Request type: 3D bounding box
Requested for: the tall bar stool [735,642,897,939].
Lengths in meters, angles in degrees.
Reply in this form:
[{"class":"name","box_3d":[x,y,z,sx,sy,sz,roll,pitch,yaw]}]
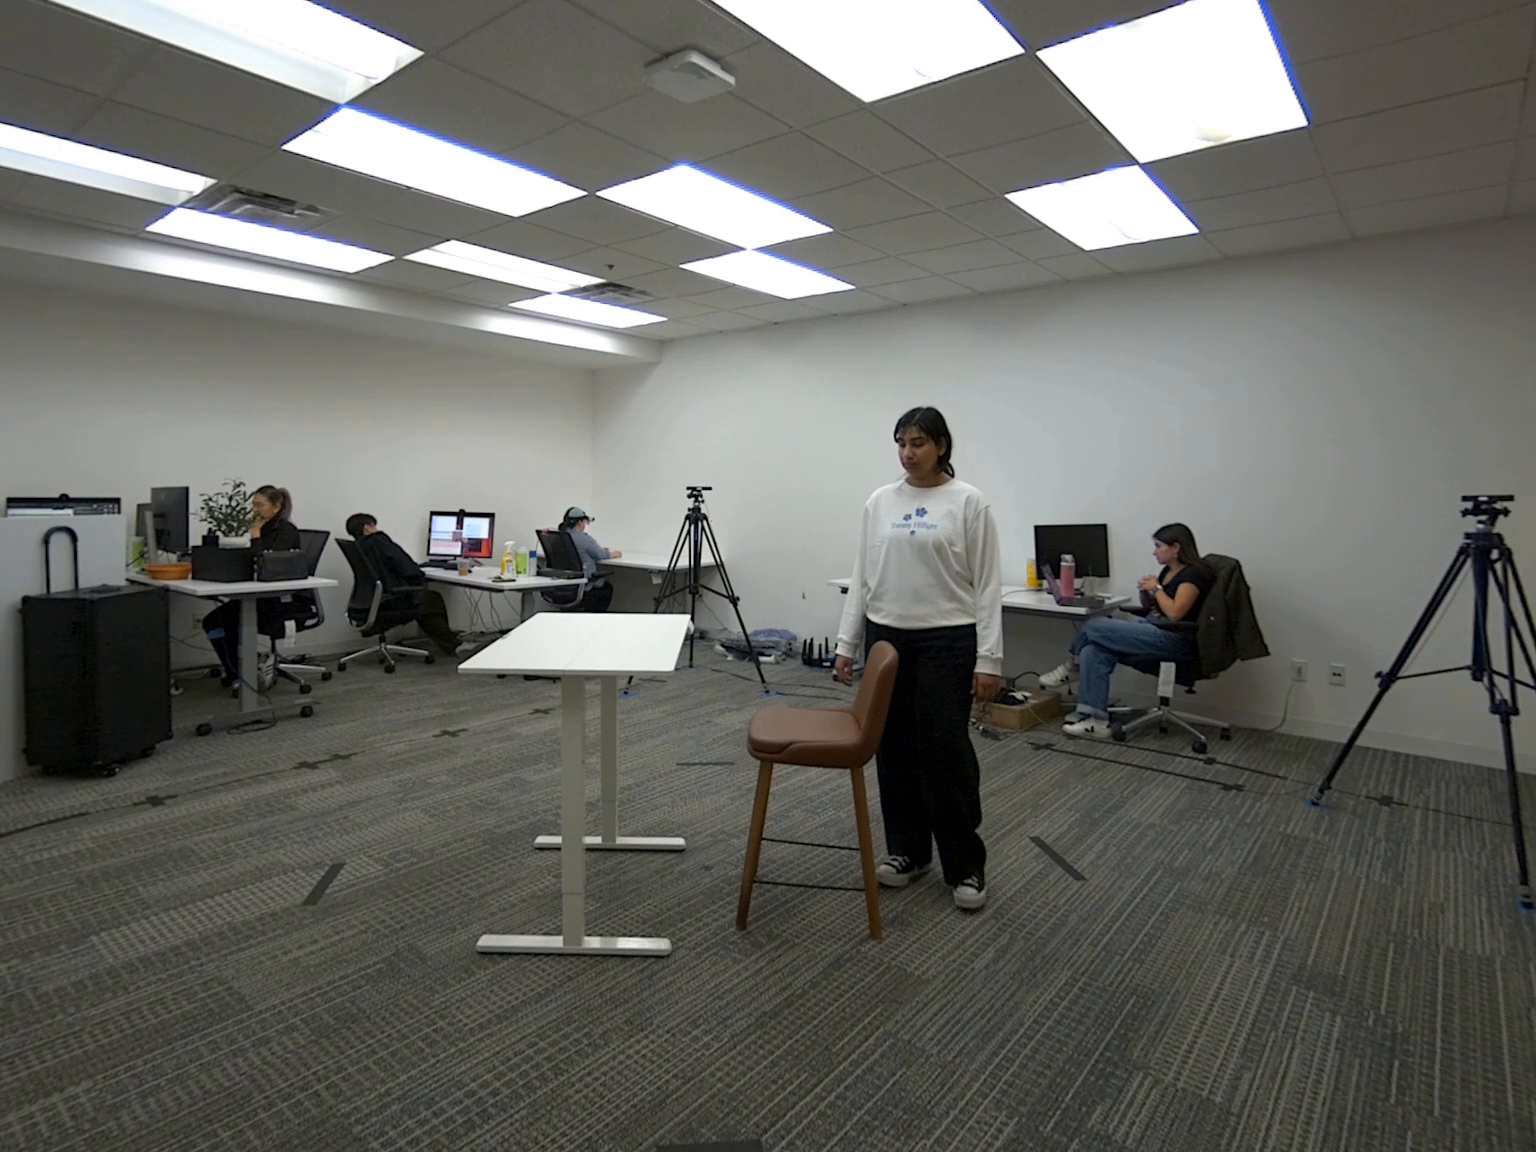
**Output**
[{"class":"tall bar stool","box_3d":[0.160,0.665,2.822,0.472,0.887,0.454,4,3,7]}]
